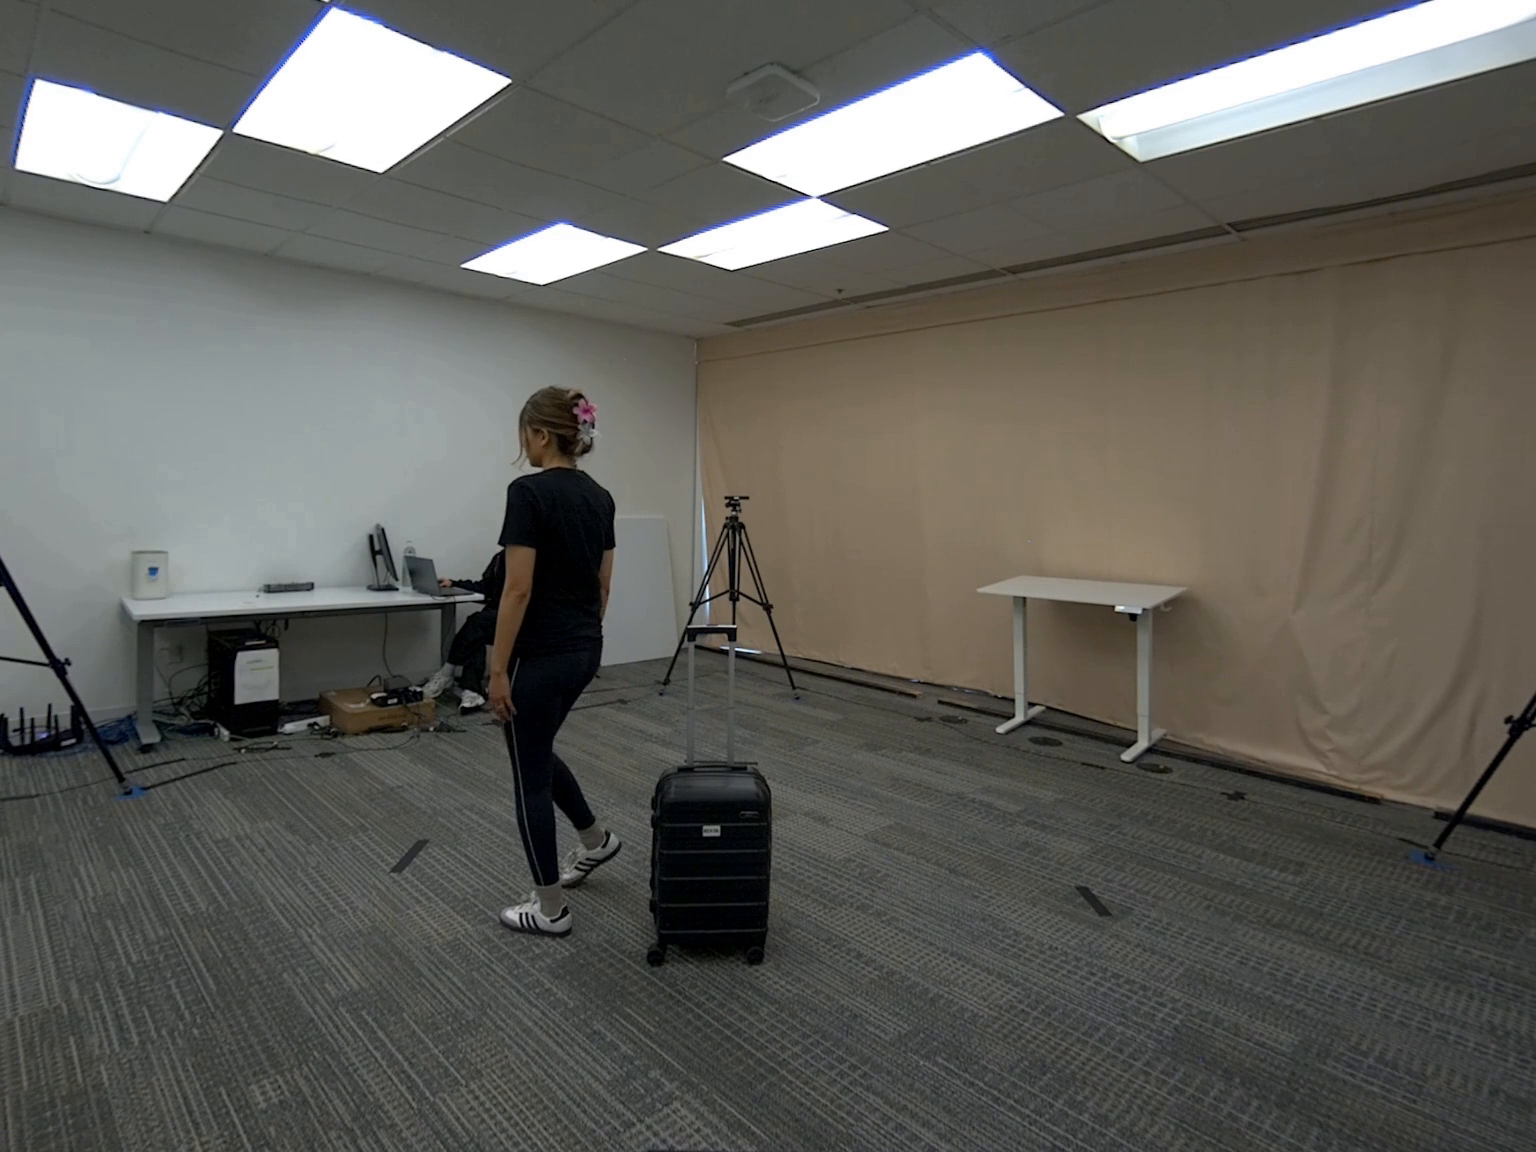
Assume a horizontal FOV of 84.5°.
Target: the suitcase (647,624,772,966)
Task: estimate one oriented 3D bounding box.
[{"bbox_3d":[-0.176,0.678,2.588,0.383,0.975,0.259,1,5,-4],"label":"suitcase"}]
